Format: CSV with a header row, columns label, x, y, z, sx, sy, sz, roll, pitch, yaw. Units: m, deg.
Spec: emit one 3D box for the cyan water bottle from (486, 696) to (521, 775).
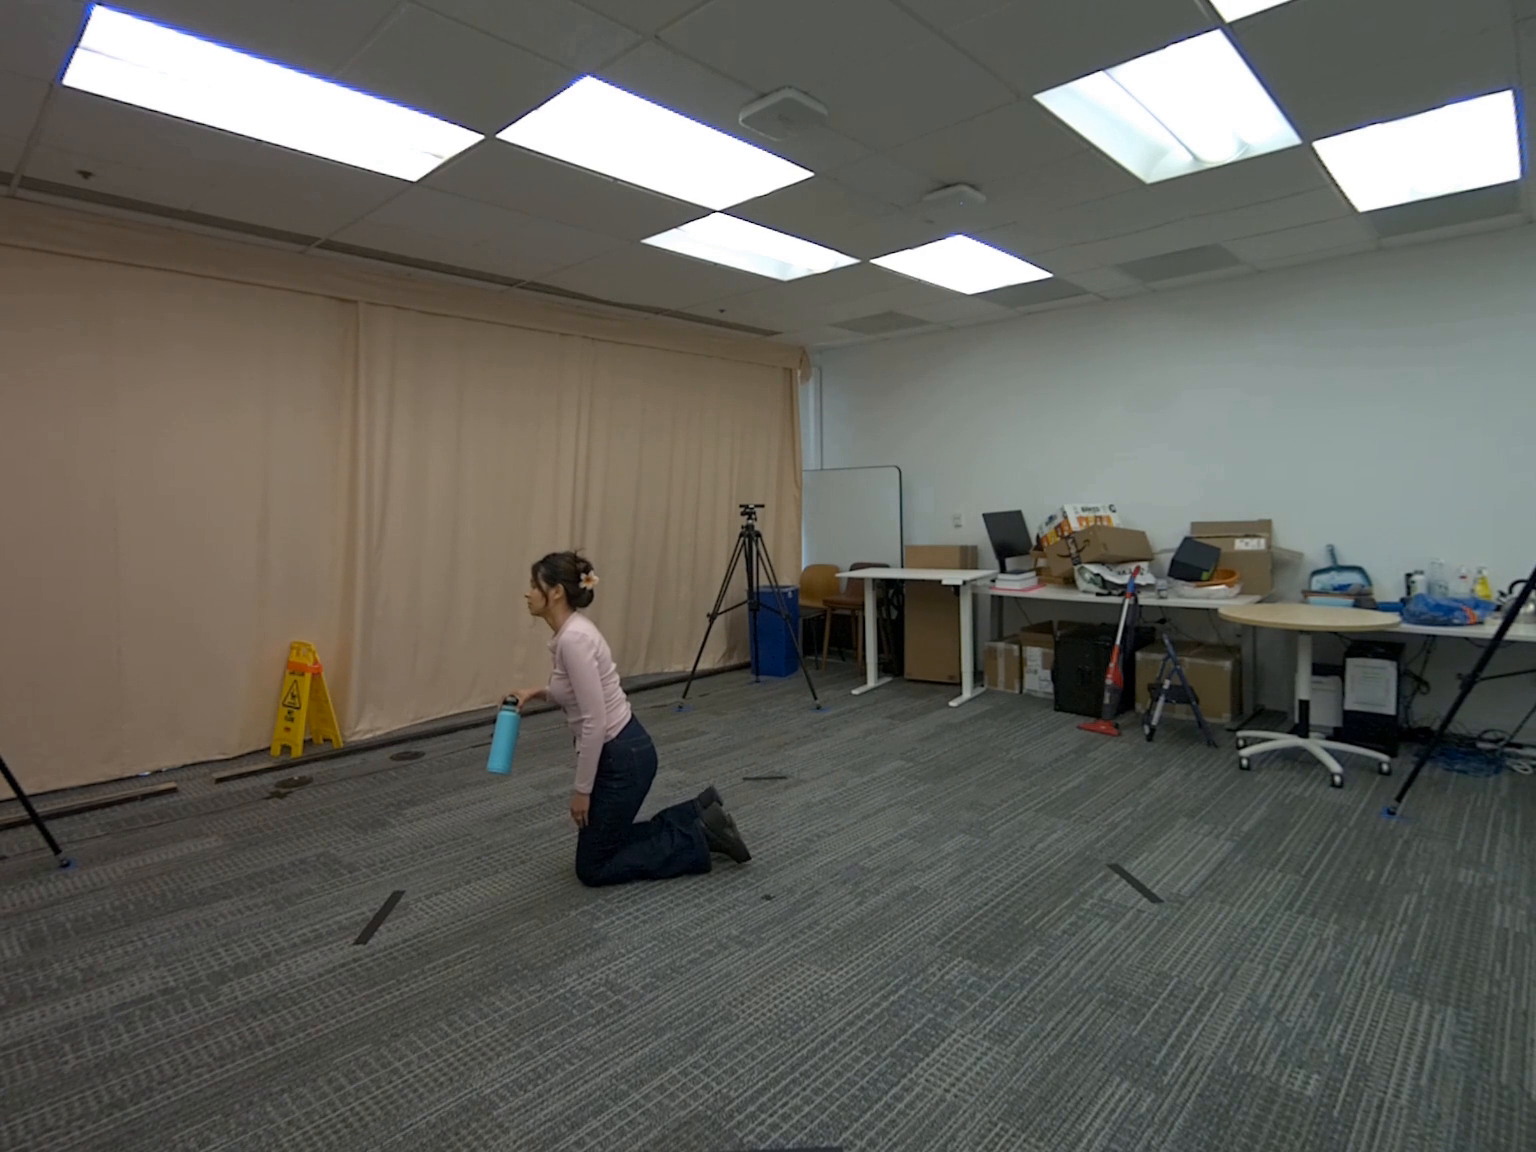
label,x,y,z,sx,sy,sz,roll,pitch,yaw
cyan water bottle,-1.003,0.611,3.226,0.092,0.285,0.091,7,-16,0
